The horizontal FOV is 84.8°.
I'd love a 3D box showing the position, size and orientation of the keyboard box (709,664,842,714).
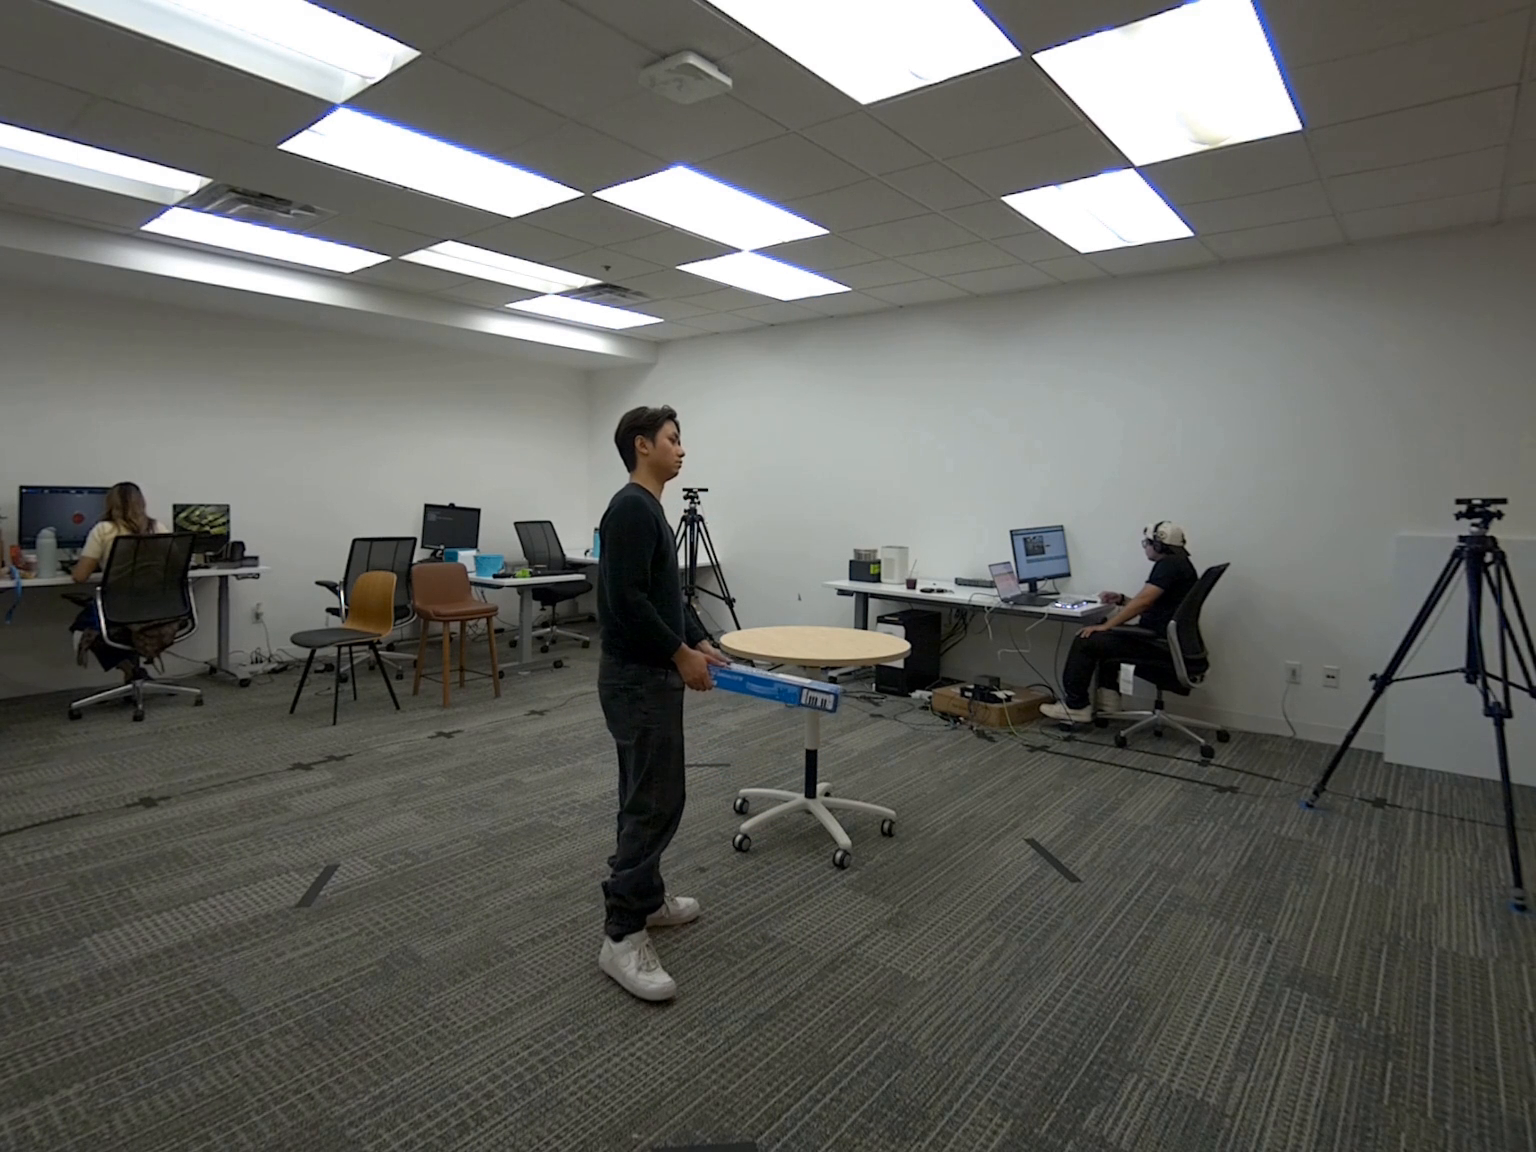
[{"bbox_3d":[-0.010,0.320,2.542,0.443,0.059,0.174,11,5,11],"label":"keyboard box"}]
